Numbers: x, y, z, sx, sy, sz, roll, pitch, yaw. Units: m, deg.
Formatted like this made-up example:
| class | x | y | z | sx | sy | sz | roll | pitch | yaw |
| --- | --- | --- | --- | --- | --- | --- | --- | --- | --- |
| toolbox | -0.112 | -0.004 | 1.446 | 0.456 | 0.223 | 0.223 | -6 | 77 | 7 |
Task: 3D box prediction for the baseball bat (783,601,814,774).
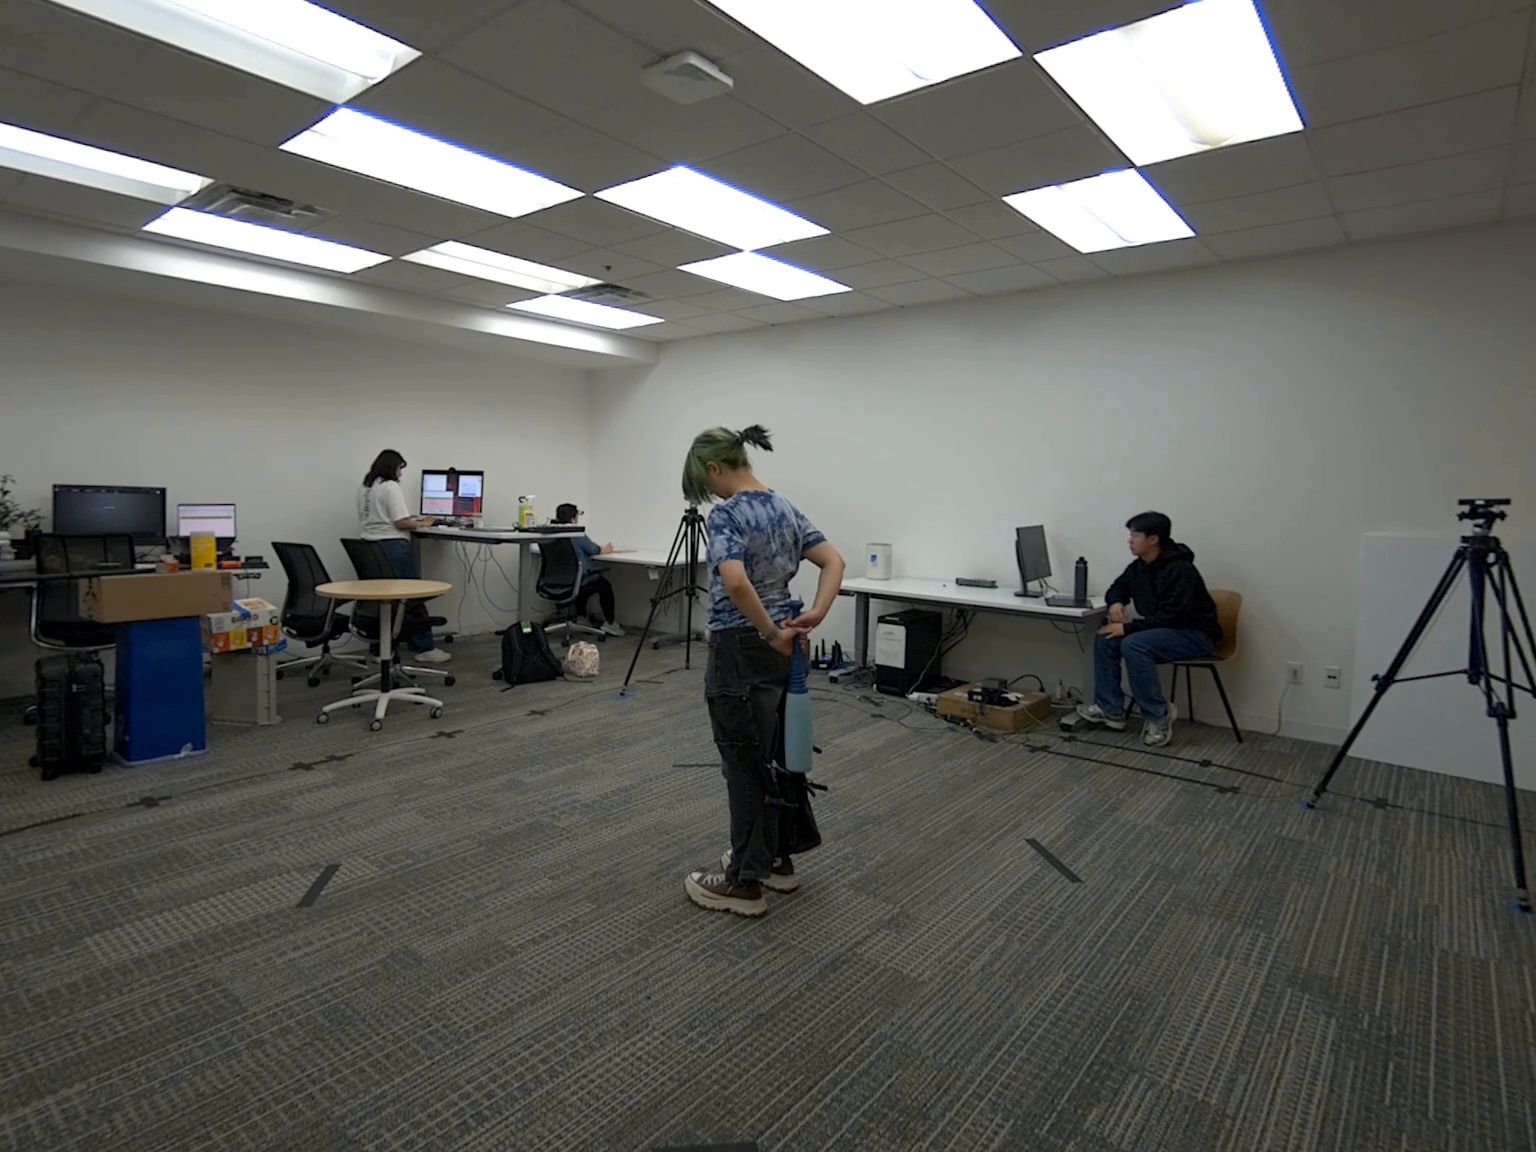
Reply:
| class | x | y | z | sx | sy | sz | roll | pitch | yaw |
| --- | --- | --- | --- | --- | --- | --- | --- | --- | --- |
| baseball bat | 0.087 | 0.355 | 2.720 | 0.089 | 0.543 | 0.089 | 2 | 0 | -2 |
